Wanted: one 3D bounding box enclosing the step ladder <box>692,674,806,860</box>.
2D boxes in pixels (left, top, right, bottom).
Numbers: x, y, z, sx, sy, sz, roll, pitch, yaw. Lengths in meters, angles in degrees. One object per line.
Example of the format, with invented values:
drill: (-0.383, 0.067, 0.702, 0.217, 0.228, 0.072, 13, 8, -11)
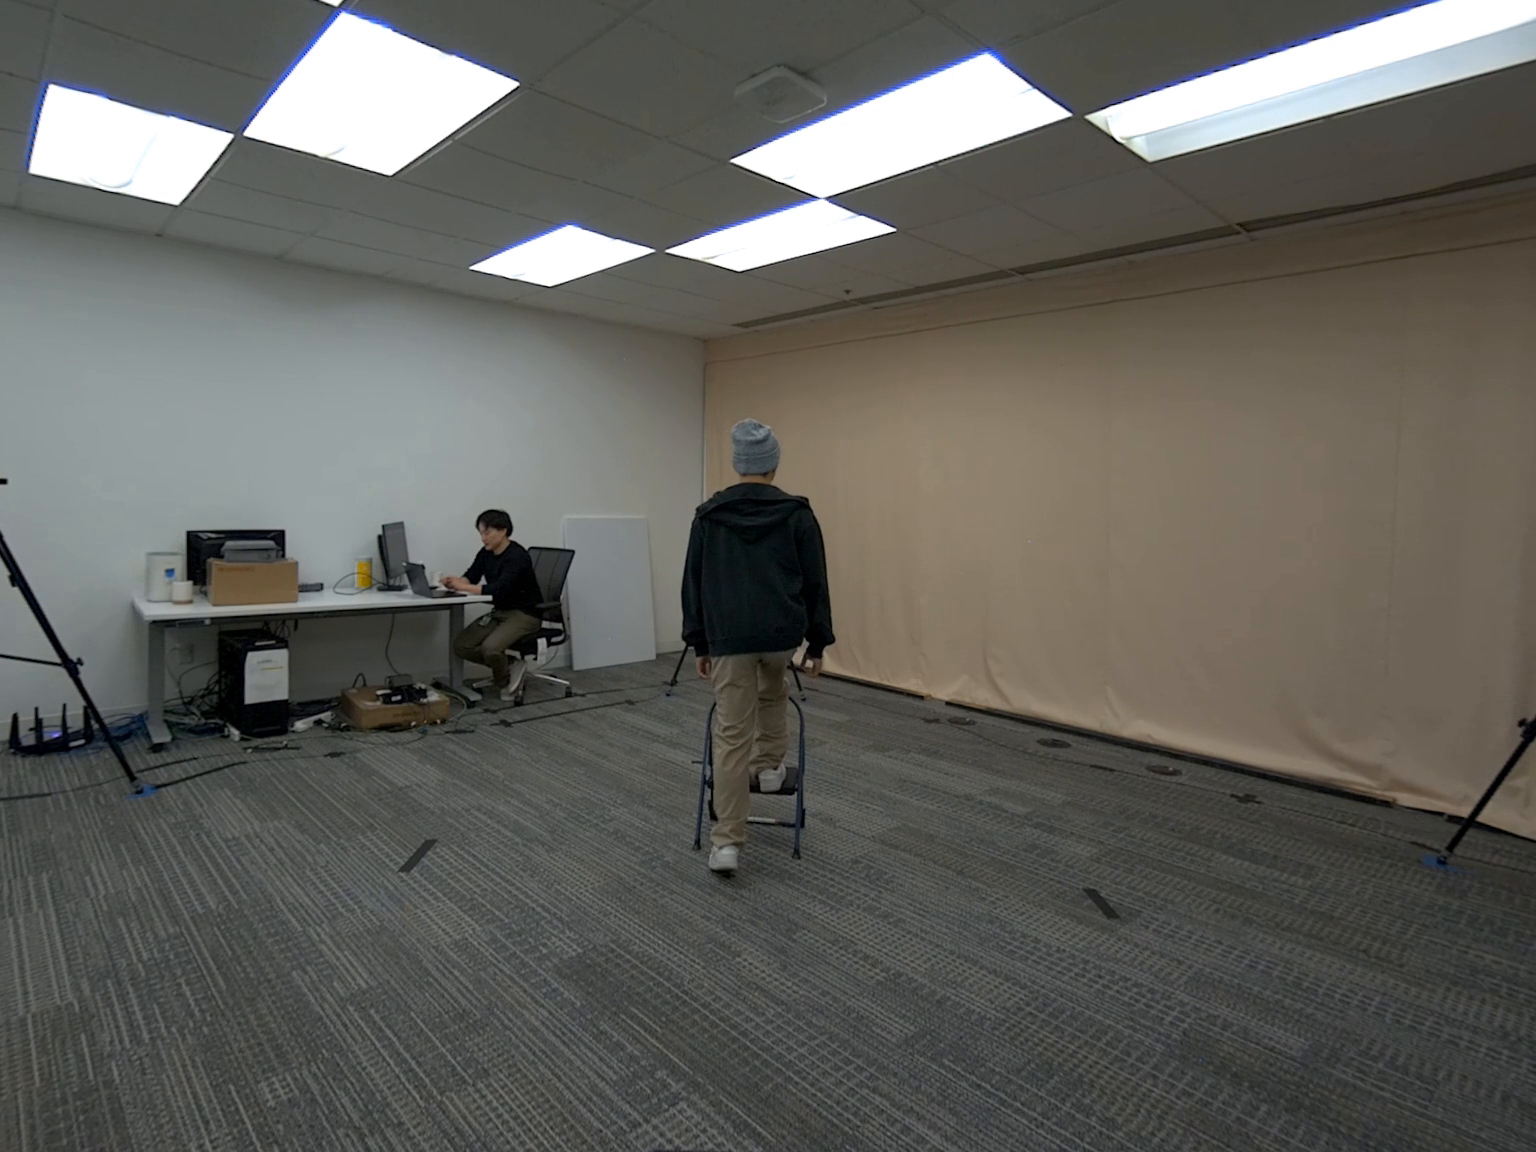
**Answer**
step ladder: (-0.066, 0.783, 3.457, 0.433, 0.605, 0.348, 2, 3, 7)
